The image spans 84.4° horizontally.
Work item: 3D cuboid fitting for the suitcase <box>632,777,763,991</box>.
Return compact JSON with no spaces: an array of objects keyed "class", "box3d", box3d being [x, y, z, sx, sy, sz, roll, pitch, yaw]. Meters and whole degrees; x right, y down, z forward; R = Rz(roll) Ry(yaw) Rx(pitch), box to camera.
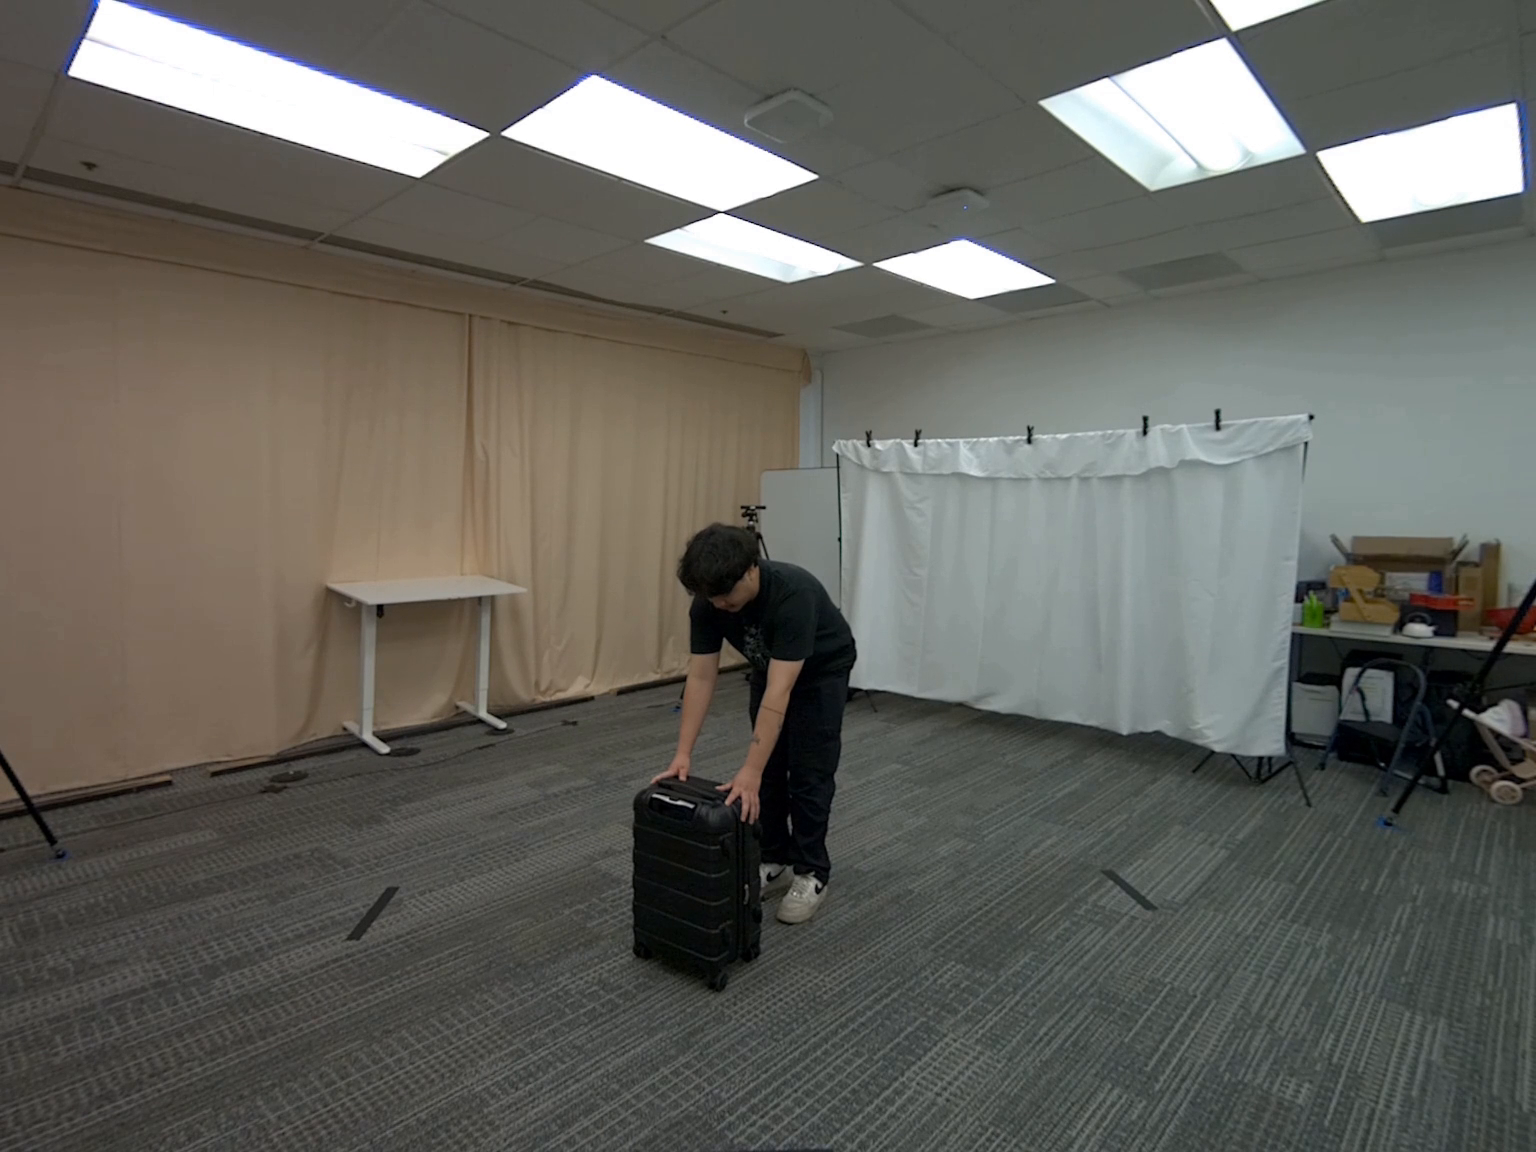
[{"class":"suitcase","box3d":[-0.222,0.909,2.566,0.387,0.548,0.241,2,5,35]}]
